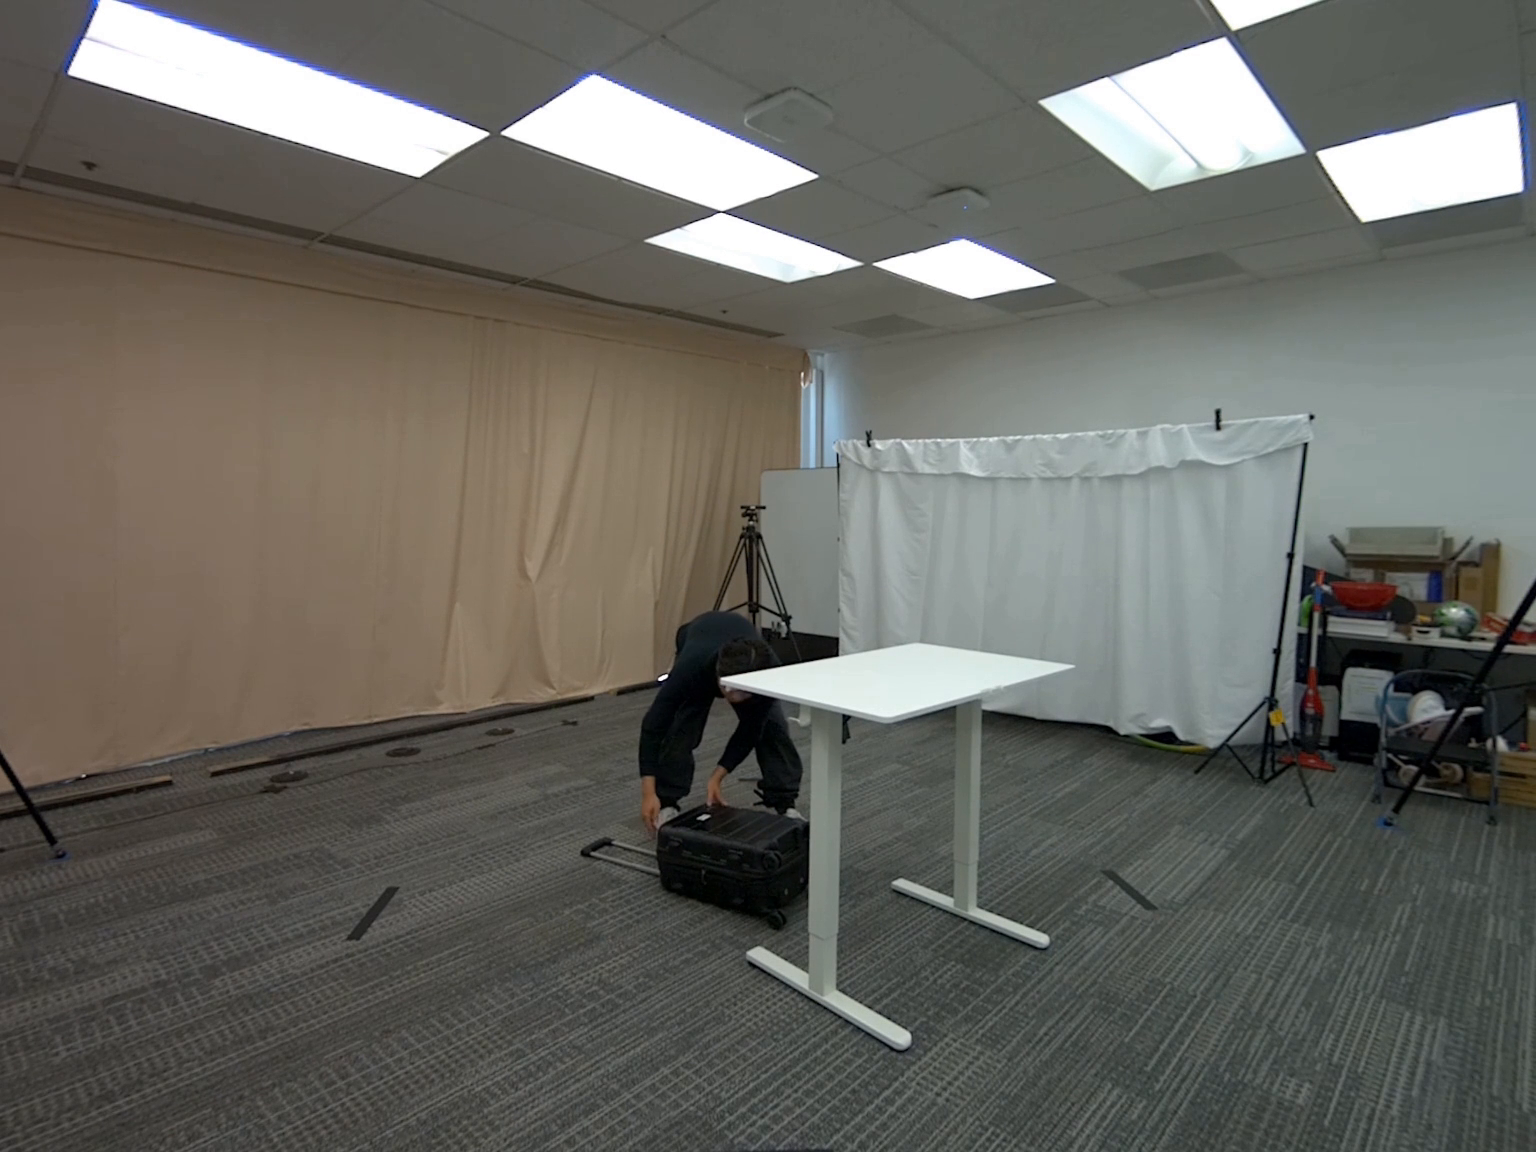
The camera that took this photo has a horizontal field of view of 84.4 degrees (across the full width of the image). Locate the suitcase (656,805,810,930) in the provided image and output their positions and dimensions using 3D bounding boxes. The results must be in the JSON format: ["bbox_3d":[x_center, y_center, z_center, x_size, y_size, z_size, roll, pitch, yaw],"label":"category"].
[{"bbox_3d":[-0.285,1.000,3.156,1.008,0.256,0.374,3,7,33],"label":"suitcase"}]
